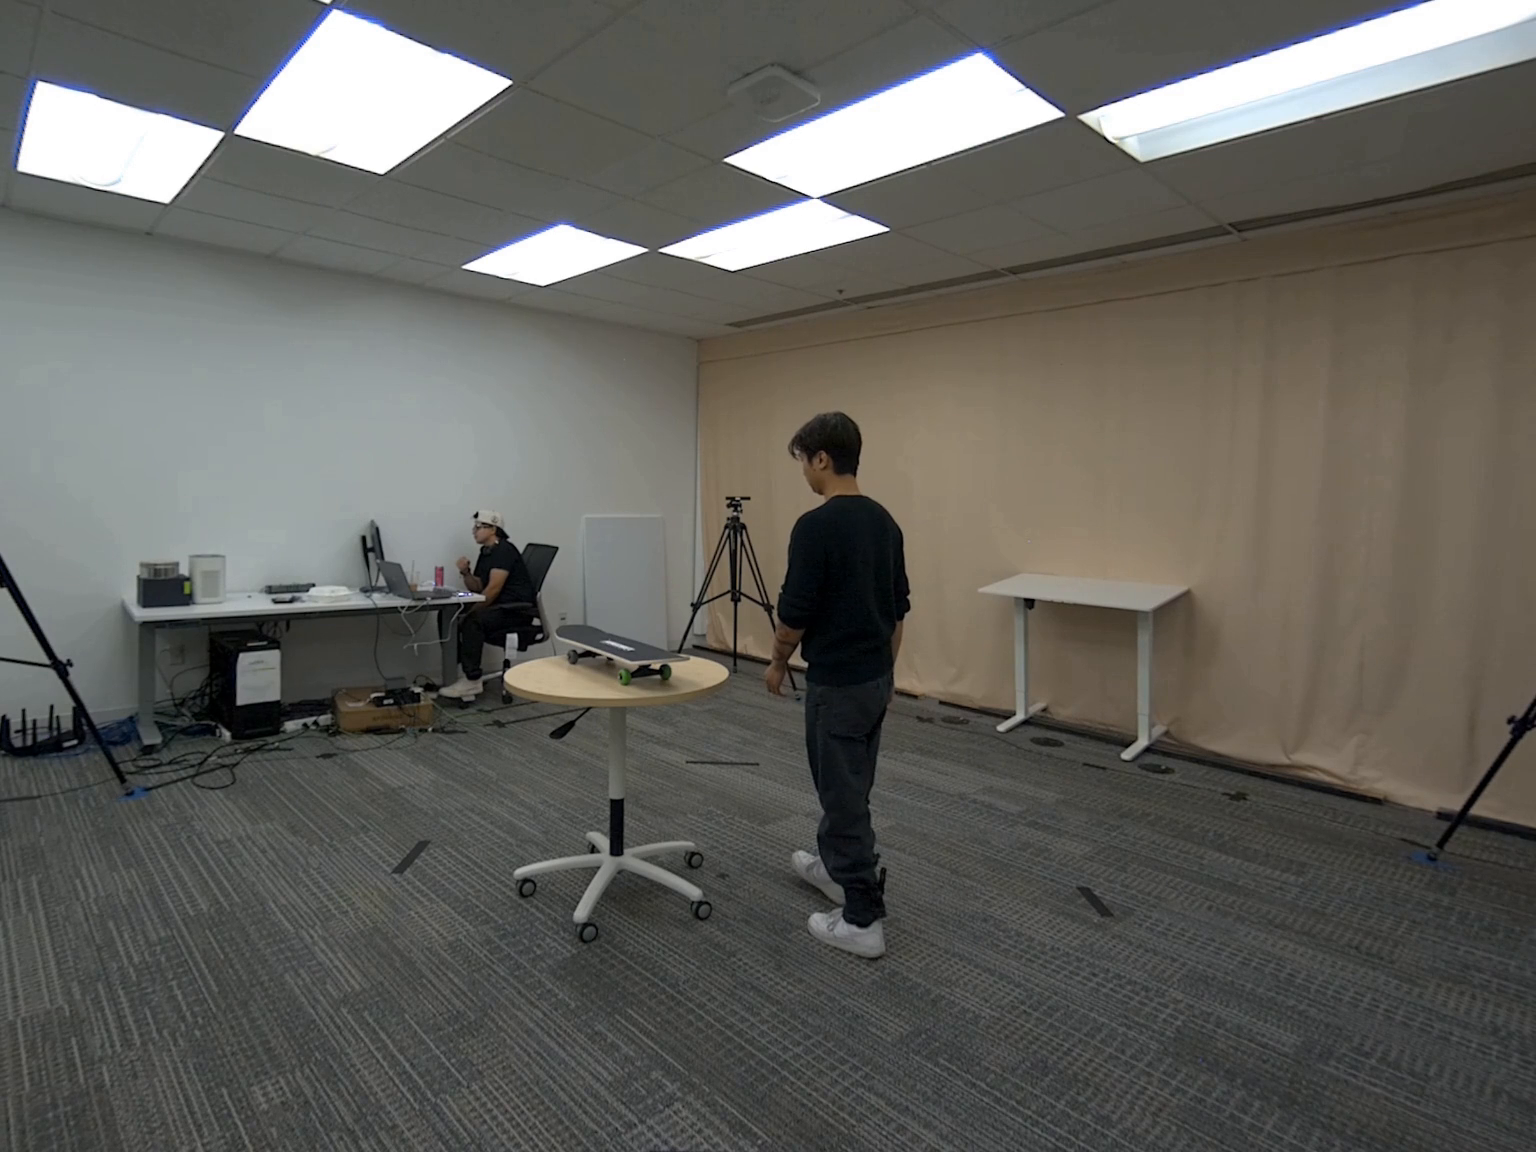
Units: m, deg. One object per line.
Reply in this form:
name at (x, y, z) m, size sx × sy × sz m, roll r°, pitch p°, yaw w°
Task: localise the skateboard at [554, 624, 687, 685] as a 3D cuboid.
skateboard at (-0.525, 0.280, 2.922) m, size 0.189 × 0.110 × 0.805 m, roll -1°, pitch 5°, yaw -37°
